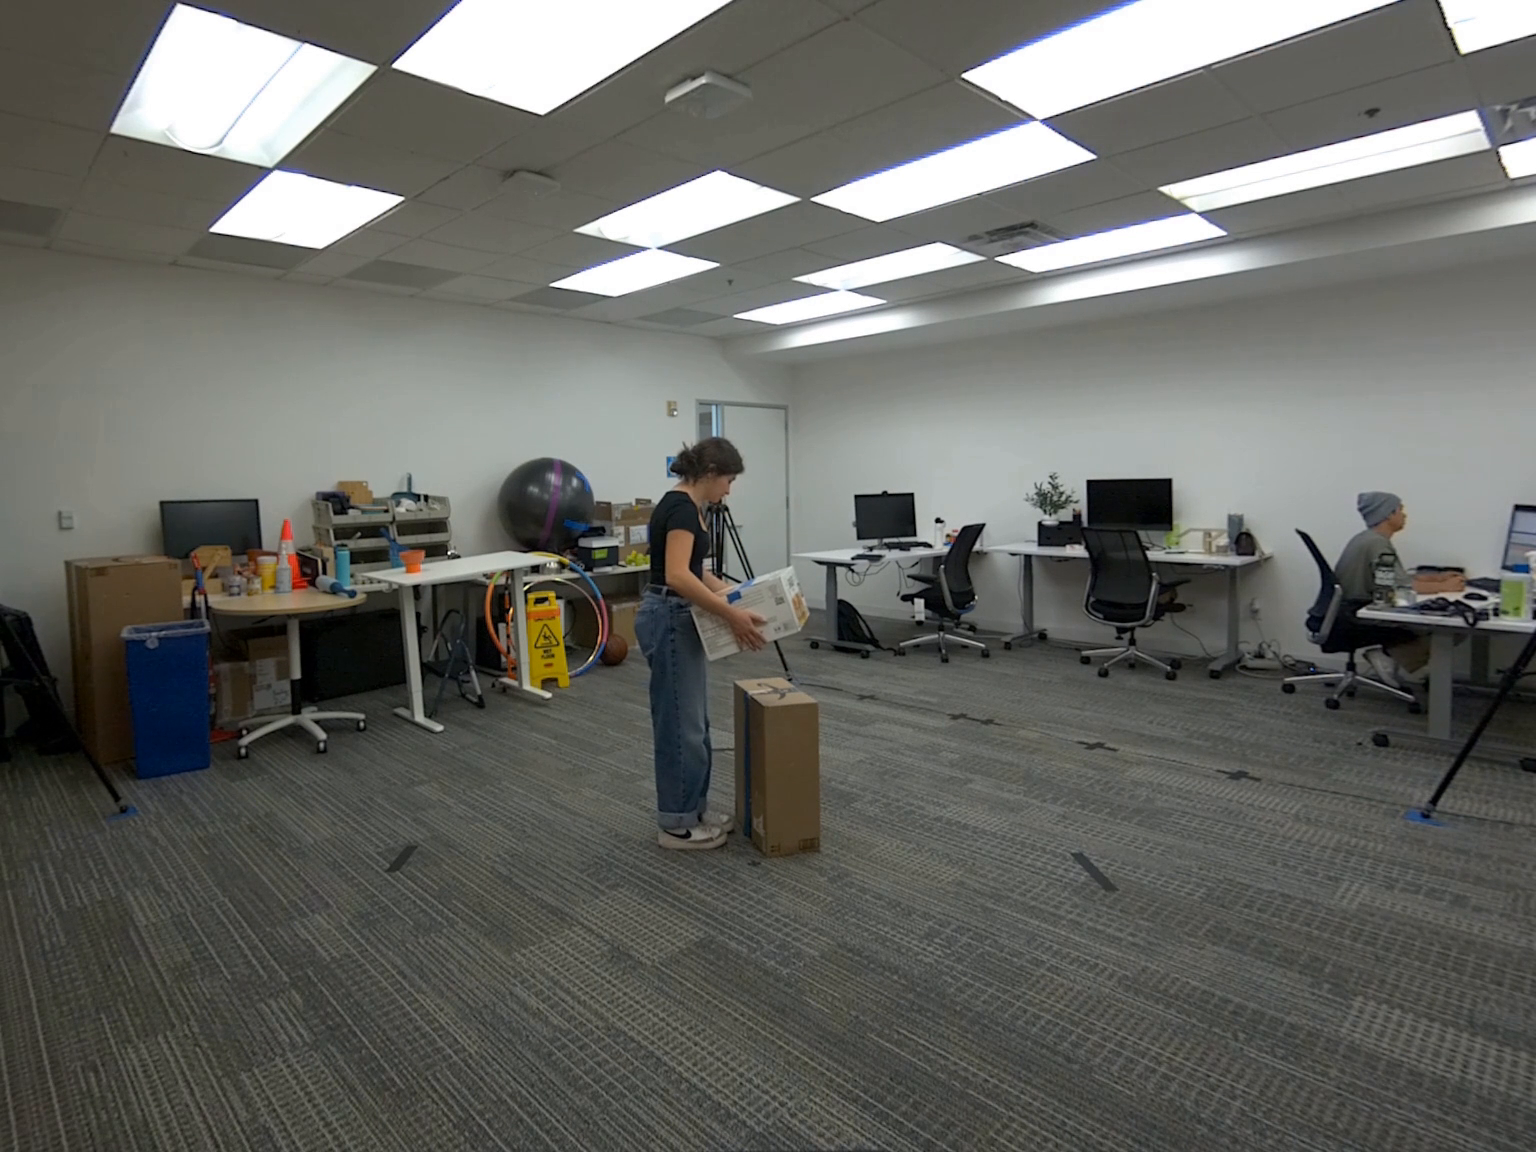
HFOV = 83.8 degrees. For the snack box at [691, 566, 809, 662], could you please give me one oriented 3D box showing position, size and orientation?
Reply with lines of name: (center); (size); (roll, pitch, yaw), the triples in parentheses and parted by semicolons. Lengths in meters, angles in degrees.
snack box: (-0.055, 0.129, 3.136); (0.342, 0.205, 0.403); (-20, 2, 10)
